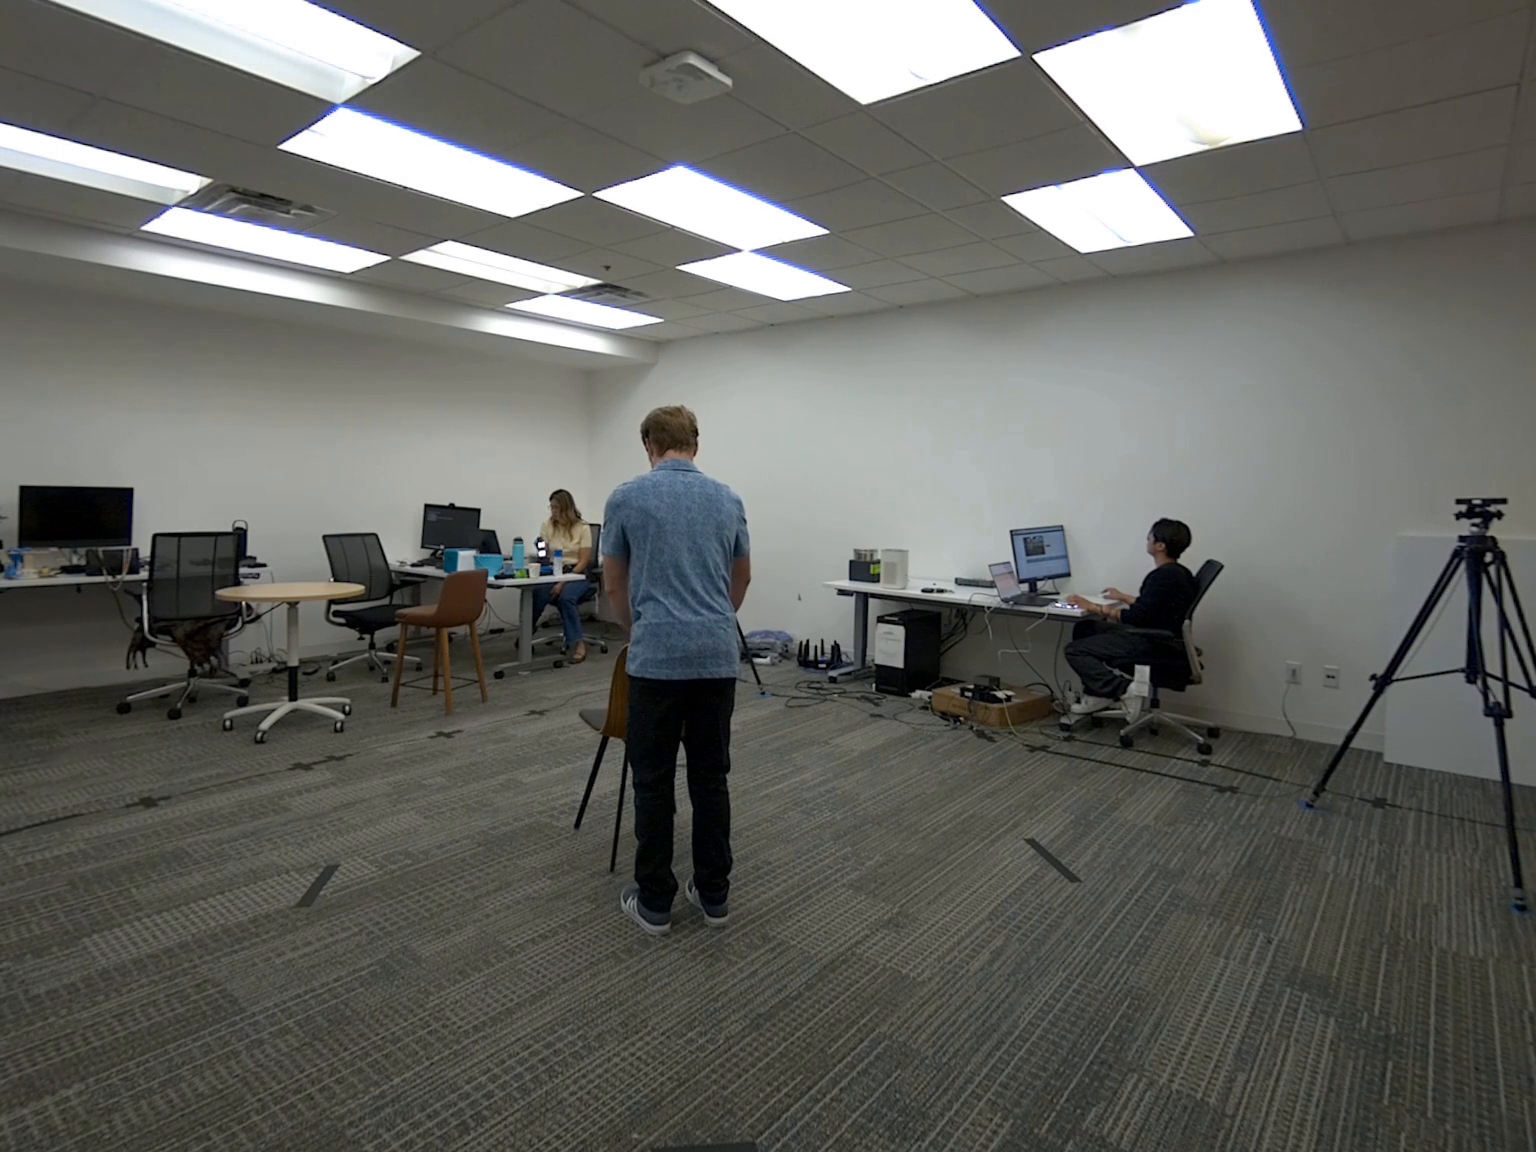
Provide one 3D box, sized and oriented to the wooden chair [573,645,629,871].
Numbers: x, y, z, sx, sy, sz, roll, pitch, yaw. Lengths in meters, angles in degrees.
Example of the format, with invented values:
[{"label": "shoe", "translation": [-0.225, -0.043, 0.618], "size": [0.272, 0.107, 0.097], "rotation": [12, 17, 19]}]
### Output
[{"label": "wooden chair", "translation": [-0.488, 0.612, 3.345], "size": [0.466, 0.872, 0.540], "rotation": [-1, 8, -28]}]
